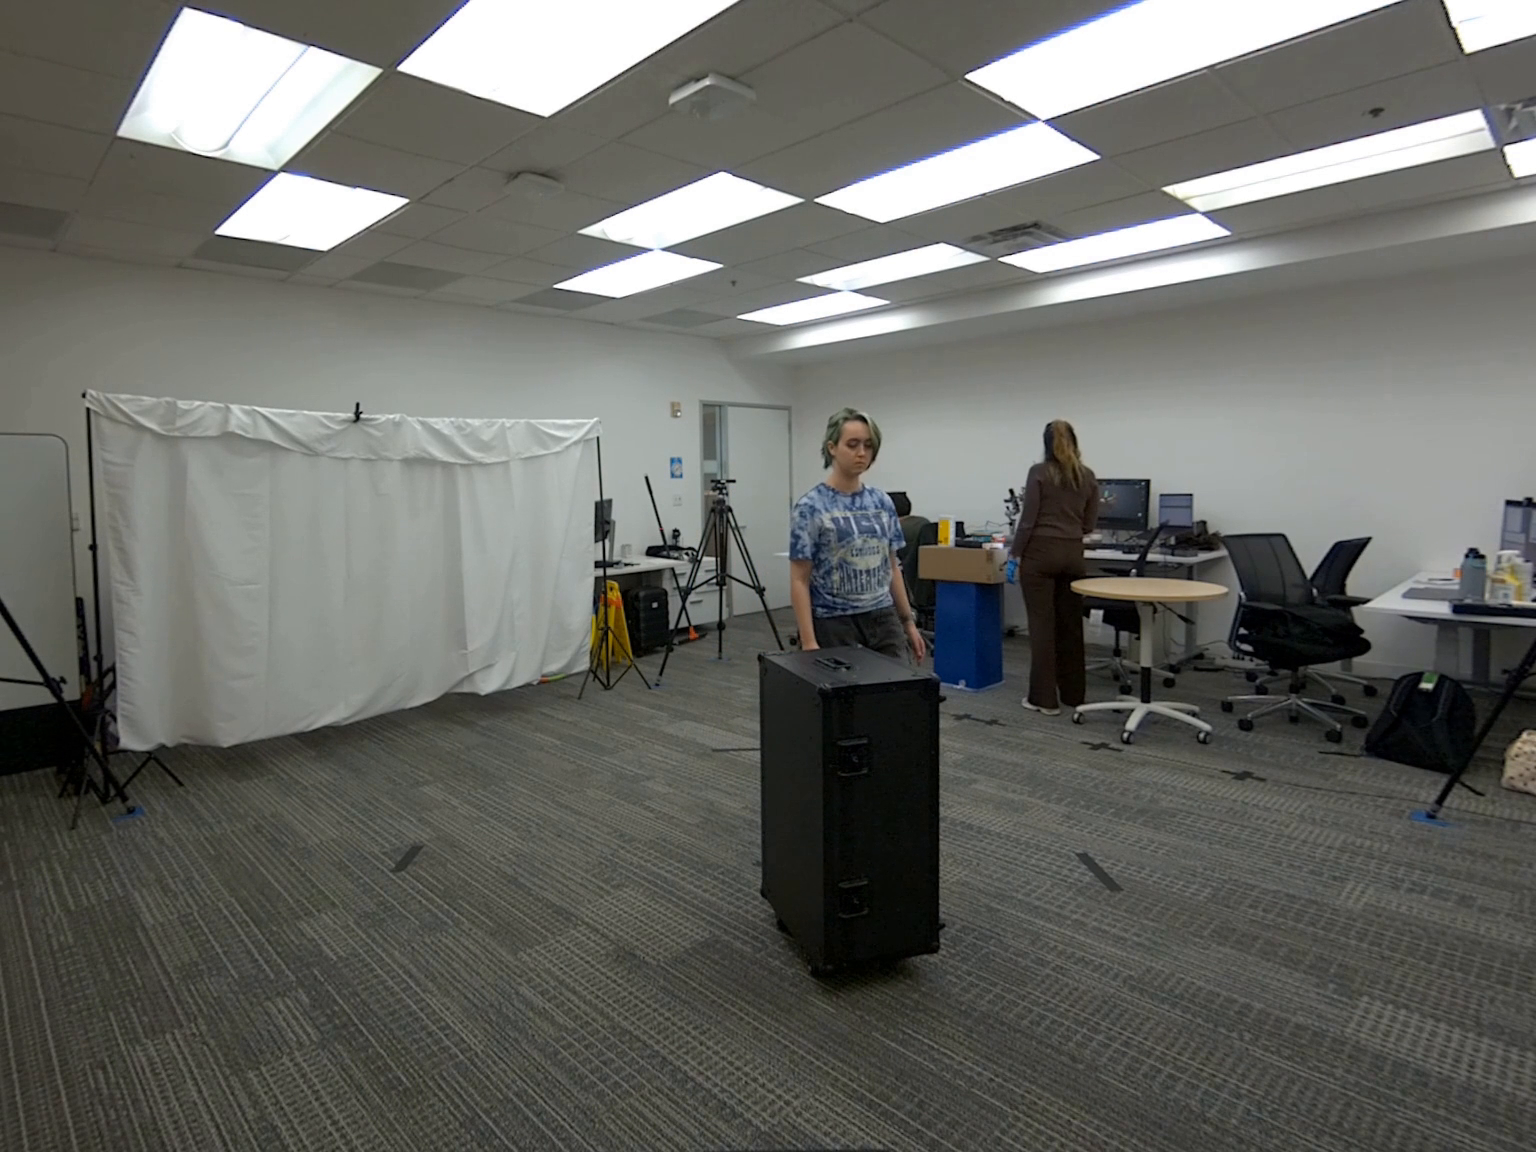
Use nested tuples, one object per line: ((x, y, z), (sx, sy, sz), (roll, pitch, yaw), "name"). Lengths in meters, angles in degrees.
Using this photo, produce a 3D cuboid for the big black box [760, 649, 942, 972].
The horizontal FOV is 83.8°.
((0.227, 0.688, 2.538), (0.390, 0.858, 0.532), (-2, 5, -19), "big black box")
